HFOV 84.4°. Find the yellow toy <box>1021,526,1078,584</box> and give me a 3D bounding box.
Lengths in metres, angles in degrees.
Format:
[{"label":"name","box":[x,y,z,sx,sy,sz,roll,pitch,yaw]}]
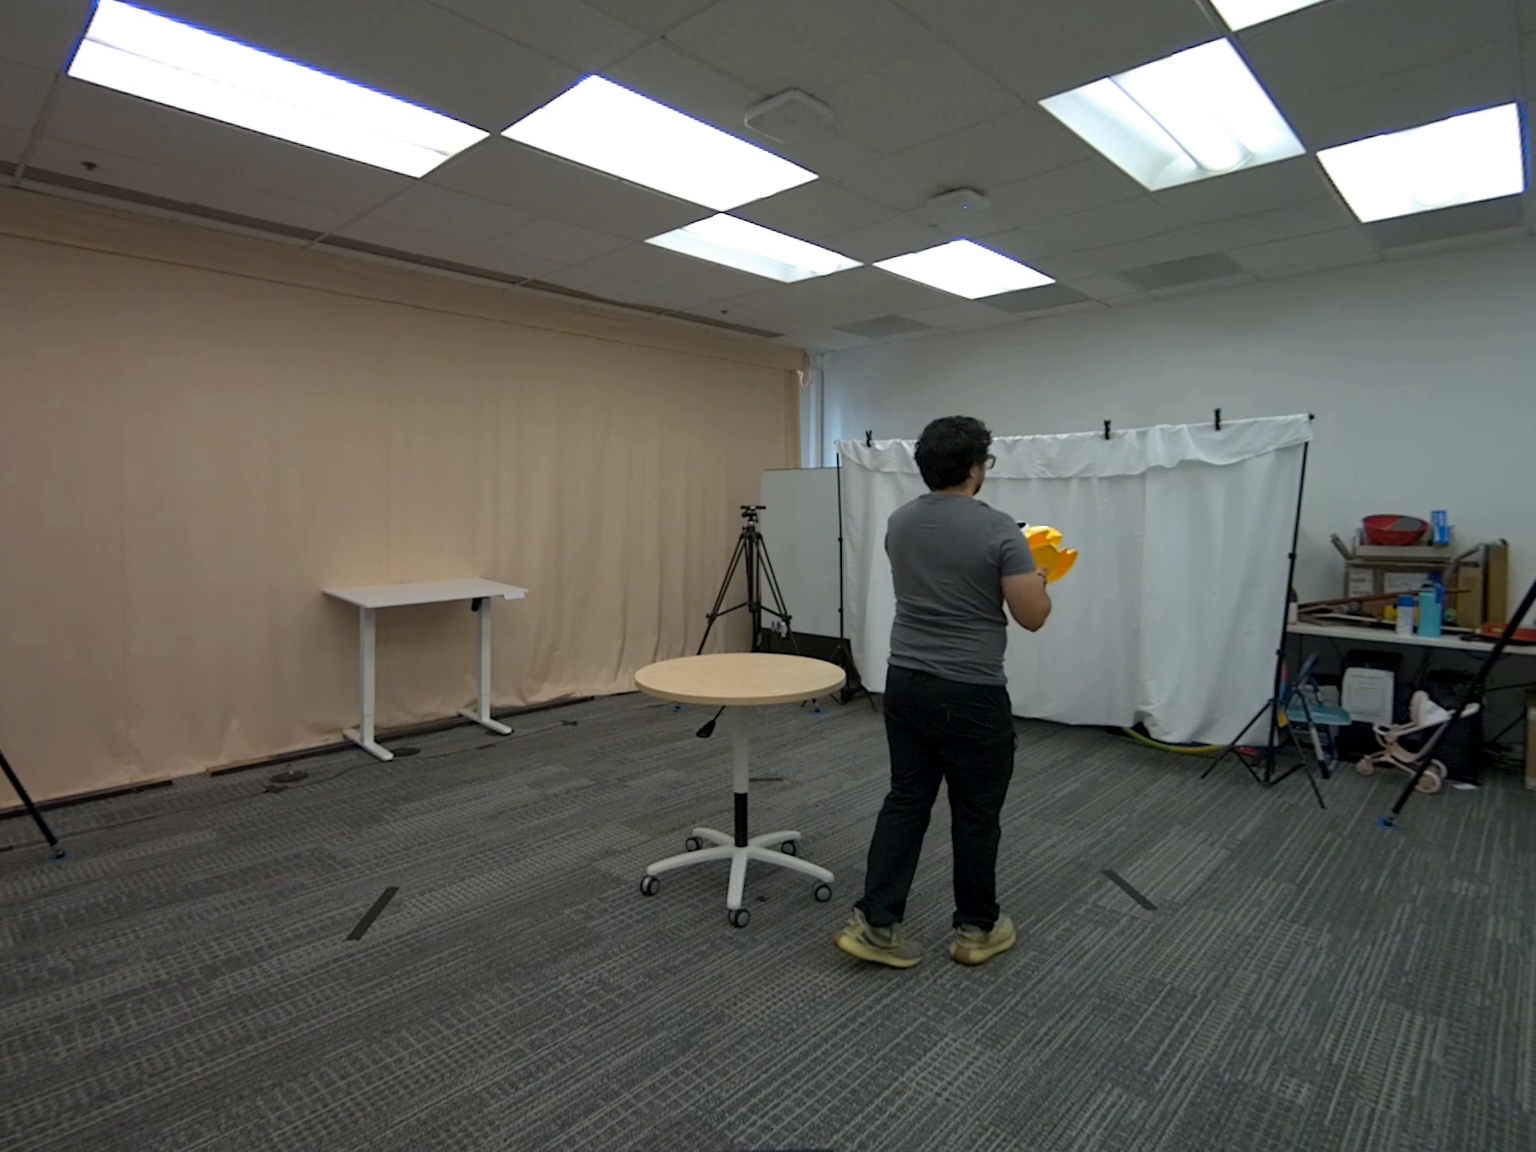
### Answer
[{"label":"yellow toy","box":[0.874,-0.111,2.769,0.200,0.194,0.234,31,30,-18]}]
